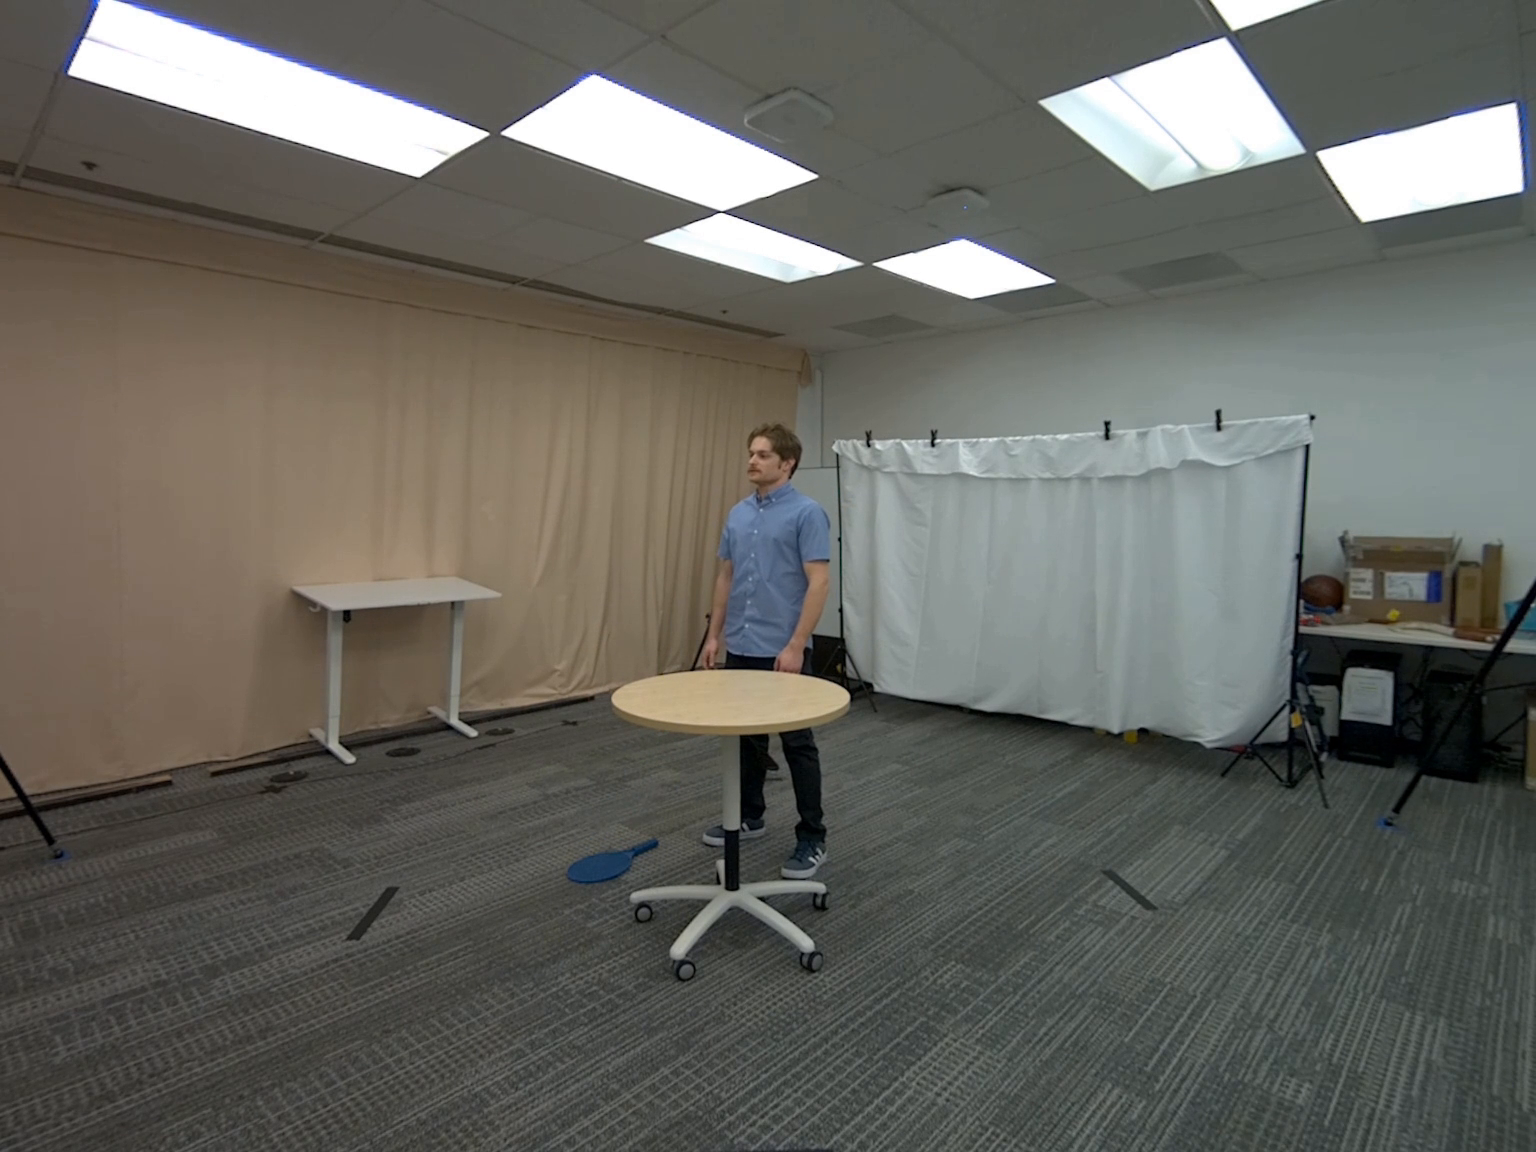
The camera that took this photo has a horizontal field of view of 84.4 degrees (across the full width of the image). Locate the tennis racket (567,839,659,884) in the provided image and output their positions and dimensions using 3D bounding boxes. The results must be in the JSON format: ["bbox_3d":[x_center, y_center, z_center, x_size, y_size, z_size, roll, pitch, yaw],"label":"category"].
[{"bbox_3d":[-0.593,1.108,3.292,0.221,0.031,0.420,3,7,40],"label":"tennis racket"}]
